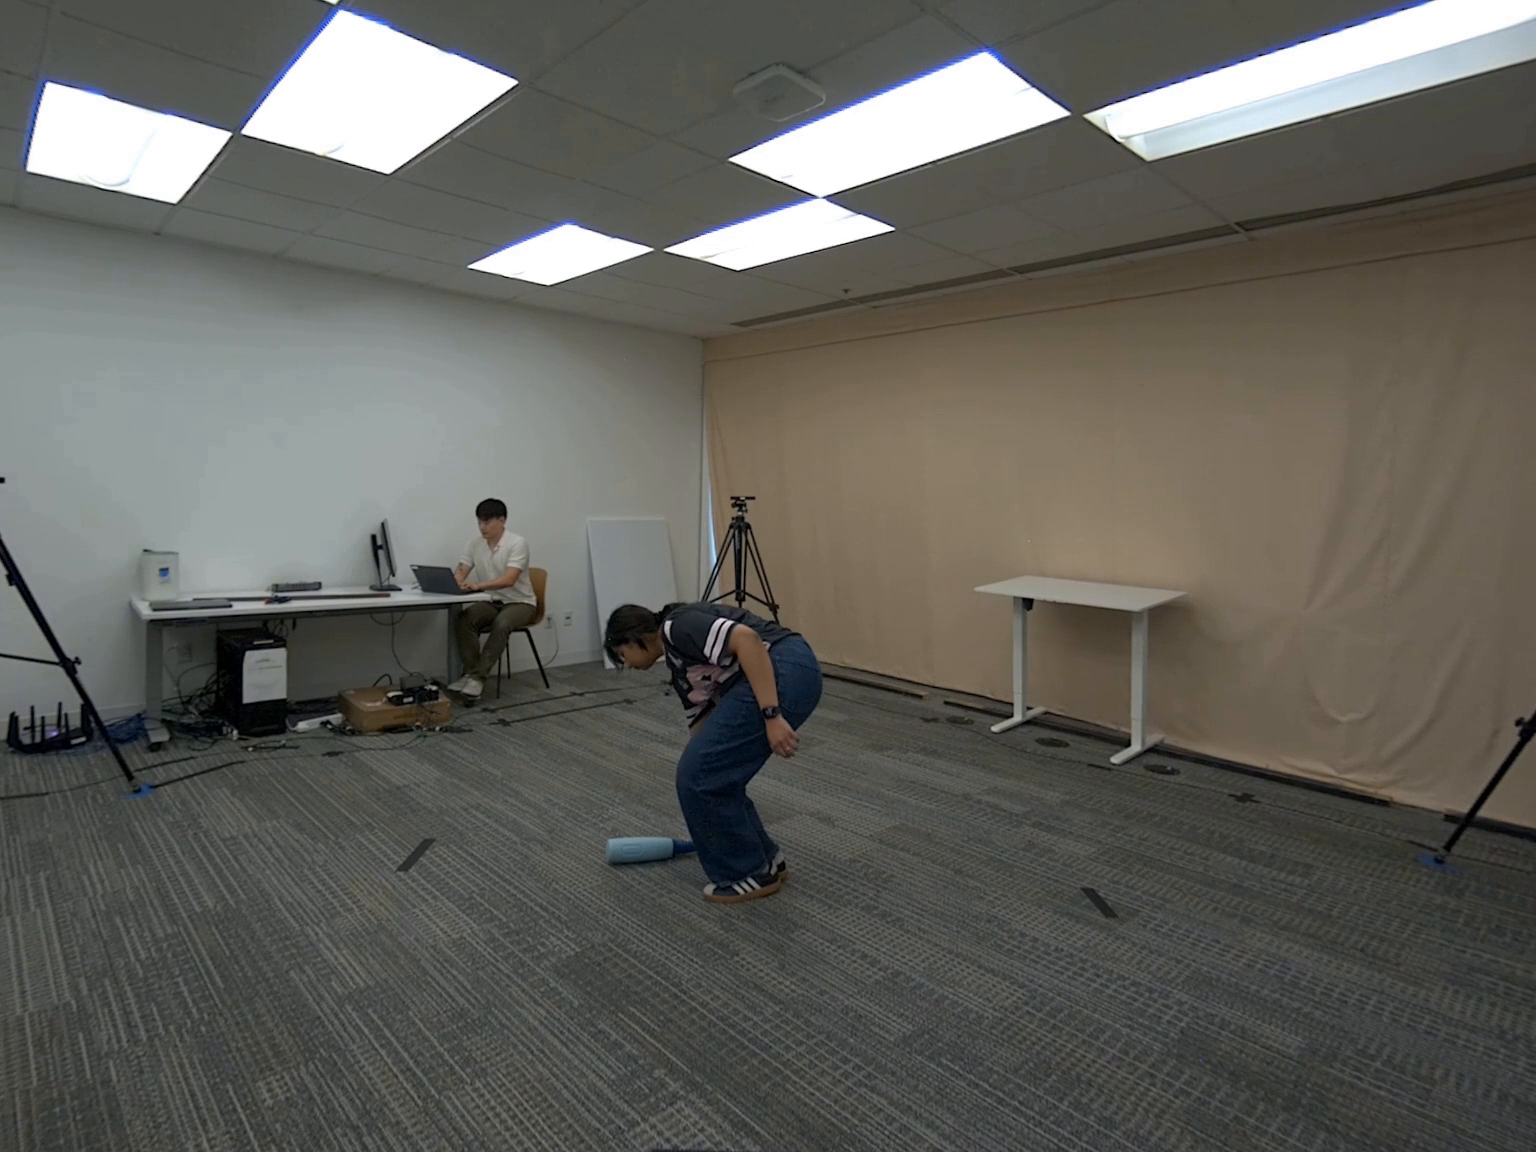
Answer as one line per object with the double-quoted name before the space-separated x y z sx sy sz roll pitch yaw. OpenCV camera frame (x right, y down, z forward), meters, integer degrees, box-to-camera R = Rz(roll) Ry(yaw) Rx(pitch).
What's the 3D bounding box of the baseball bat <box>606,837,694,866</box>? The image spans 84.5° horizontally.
"baseball bat" -0.364 1.052 3.239 0.535 0.089 0.090 3 3 -19
